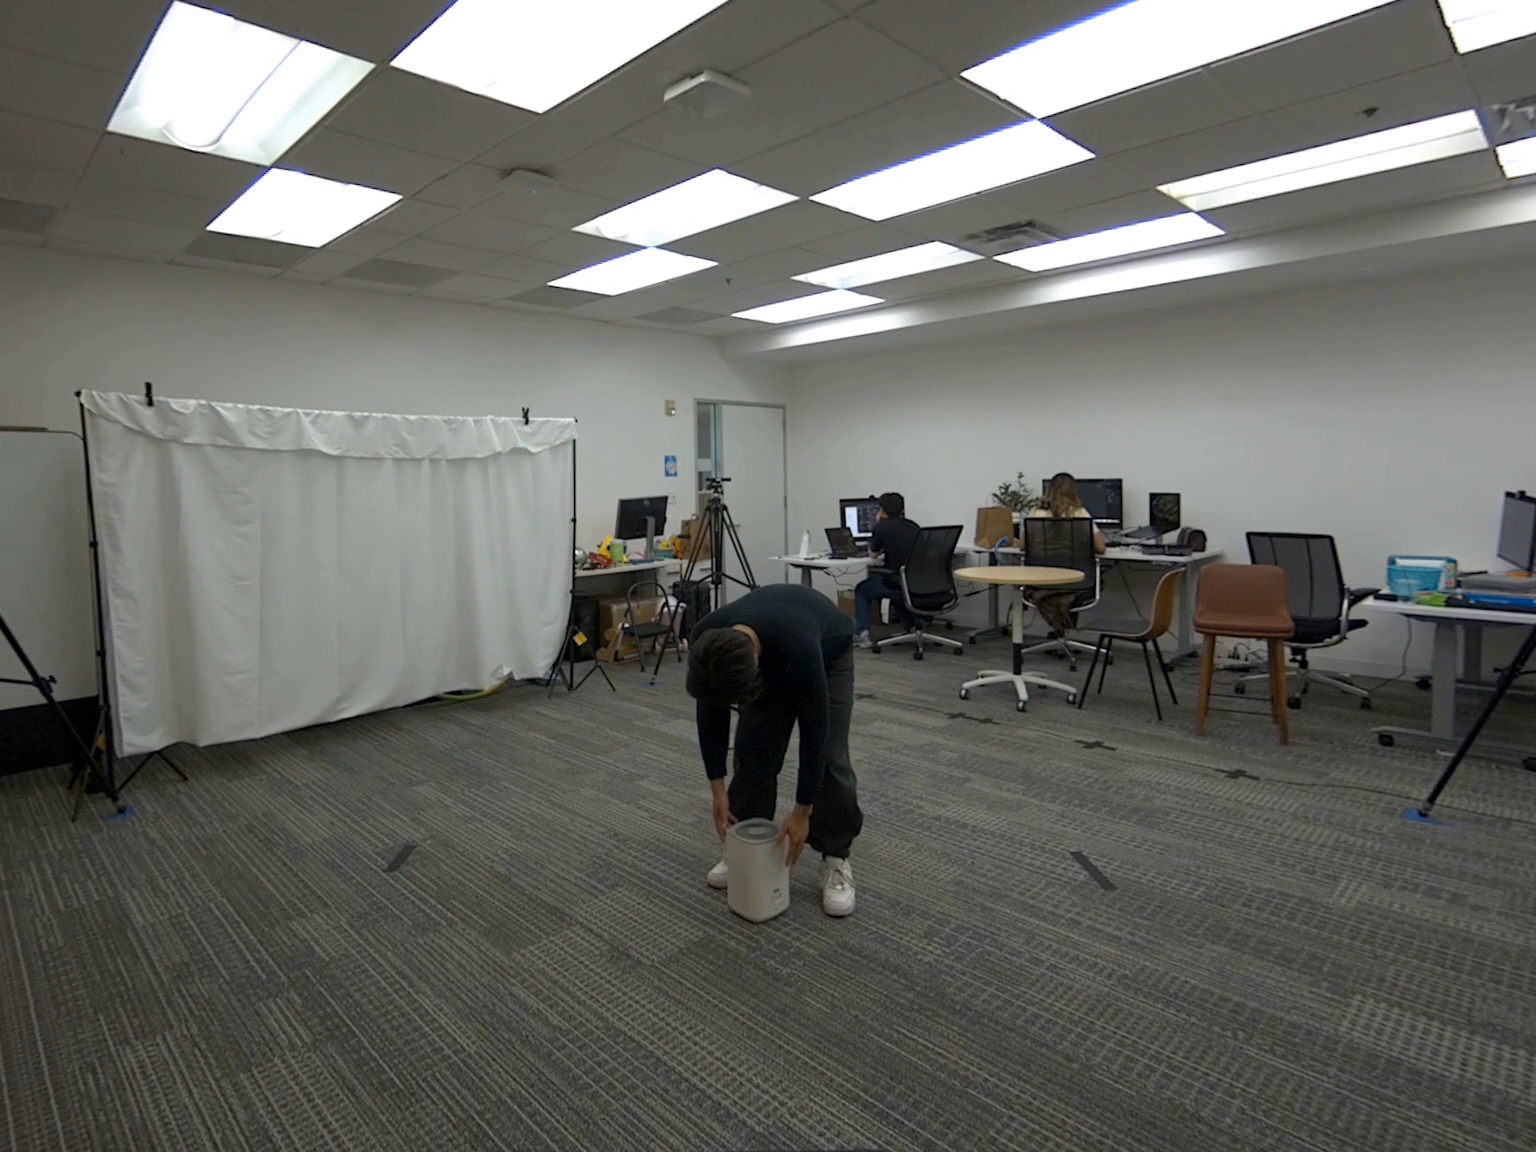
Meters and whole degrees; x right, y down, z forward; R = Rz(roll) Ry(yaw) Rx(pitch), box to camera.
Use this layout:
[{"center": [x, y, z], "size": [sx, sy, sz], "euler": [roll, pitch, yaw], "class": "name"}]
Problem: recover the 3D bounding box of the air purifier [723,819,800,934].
[{"center": [-0.022, 0.955, 2.757], "size": [0.166, 0.264, 0.177], "euler": [-5, 7, -42], "class": "air purifier"}]
